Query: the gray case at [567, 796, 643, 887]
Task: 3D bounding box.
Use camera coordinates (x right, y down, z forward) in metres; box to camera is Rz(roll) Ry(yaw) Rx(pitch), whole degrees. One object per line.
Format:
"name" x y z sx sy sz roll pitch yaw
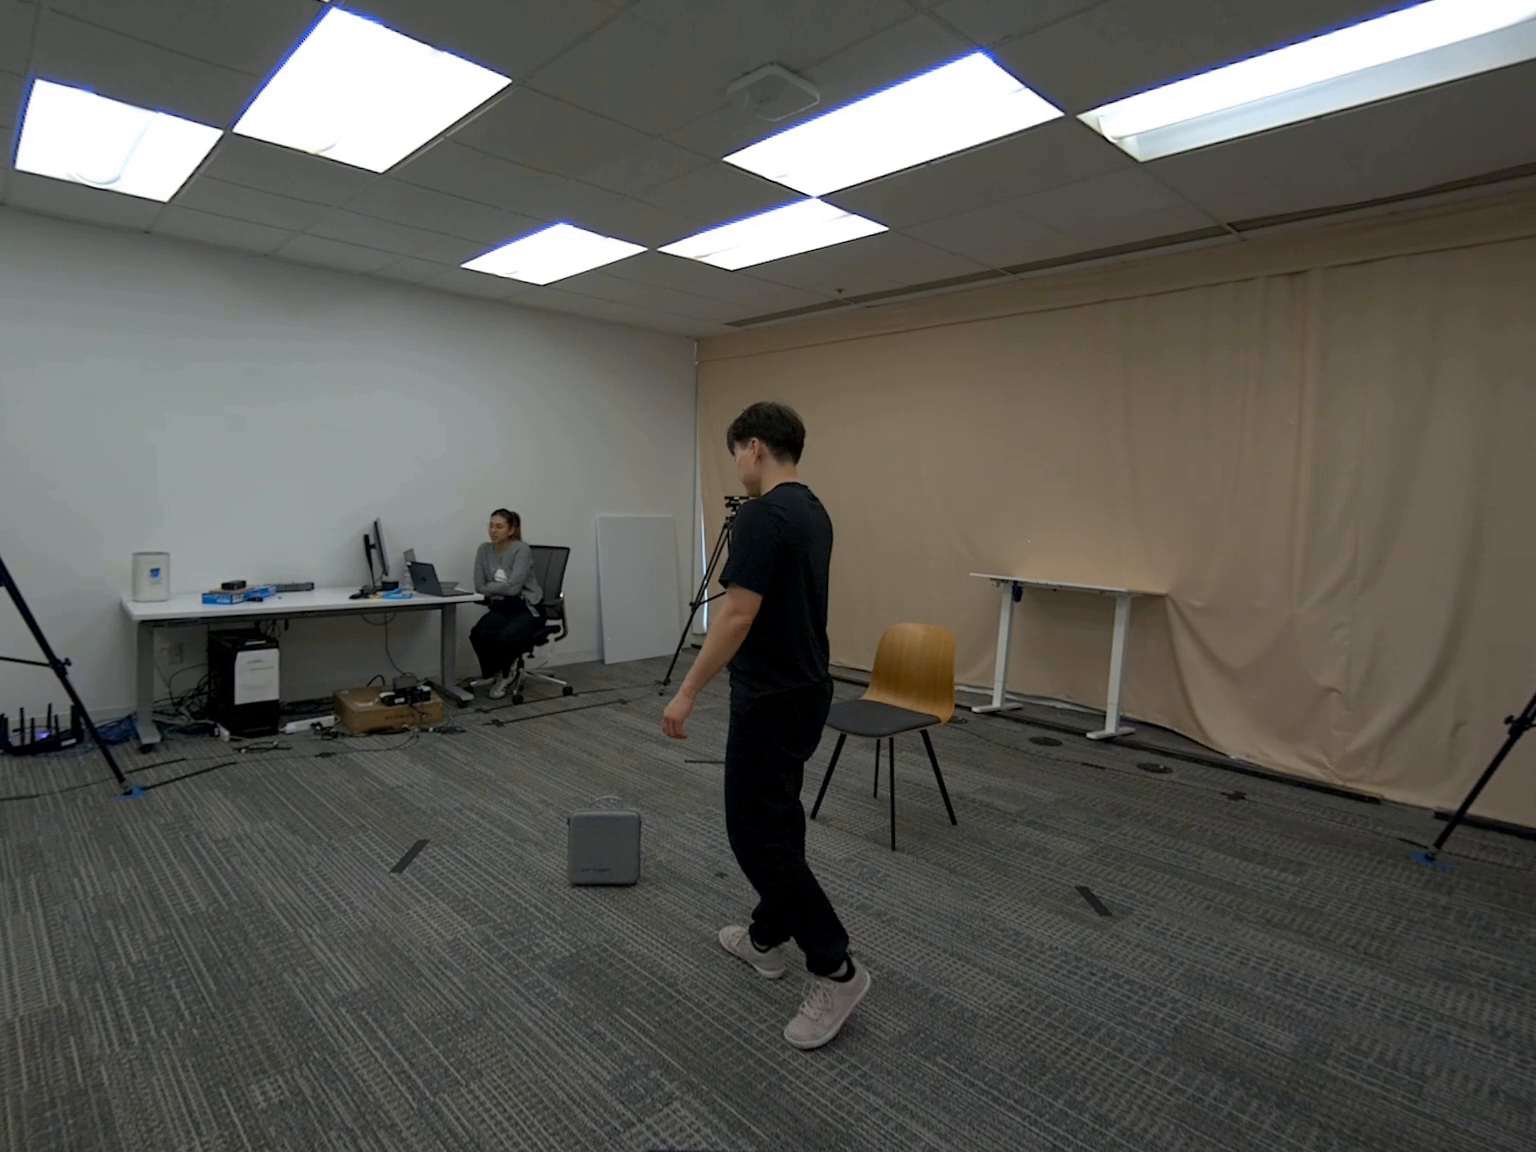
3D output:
"gray case" -0.597 0.965 3.035 0.256 0.261 0.104 2 -4 -3
